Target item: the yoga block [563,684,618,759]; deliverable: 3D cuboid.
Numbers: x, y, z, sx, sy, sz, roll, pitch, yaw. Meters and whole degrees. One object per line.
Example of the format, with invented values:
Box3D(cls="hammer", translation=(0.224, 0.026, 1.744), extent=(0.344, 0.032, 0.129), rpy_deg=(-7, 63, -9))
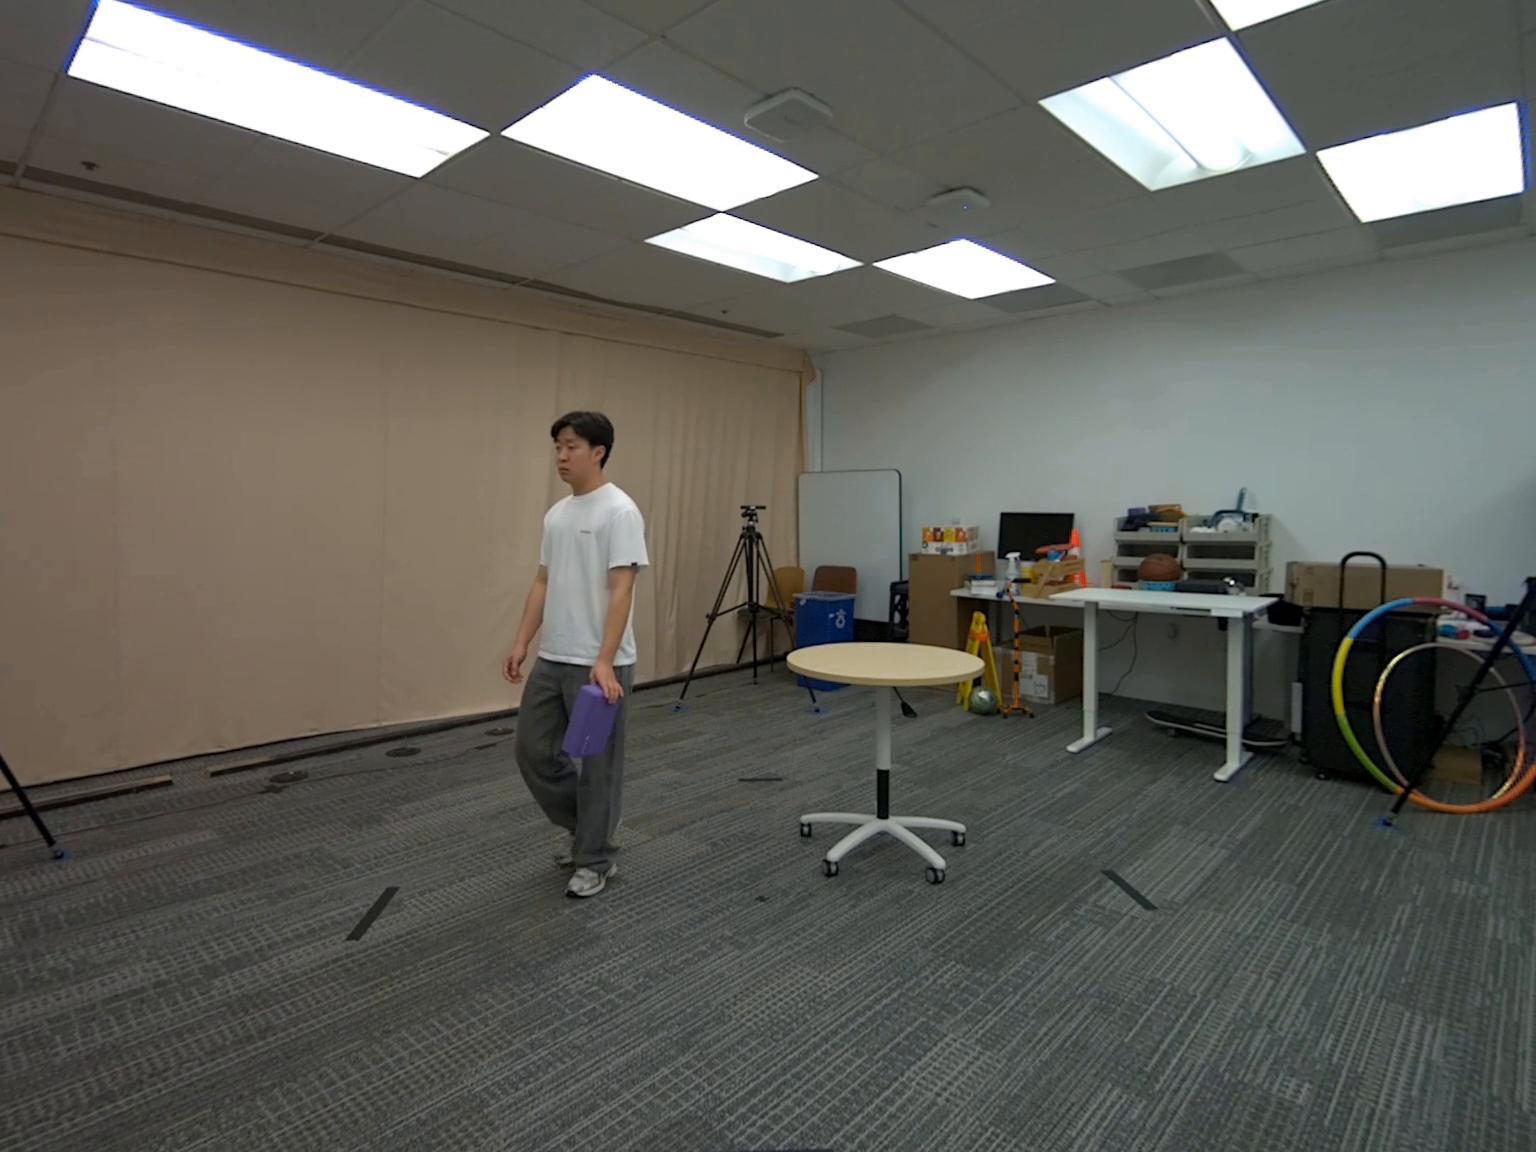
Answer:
Box3D(cls="yoga block", translation=(-0.590, 0.478, 2.810), extent=(0.079, 0.229, 0.144), rpy_deg=(18, 6, 31))
